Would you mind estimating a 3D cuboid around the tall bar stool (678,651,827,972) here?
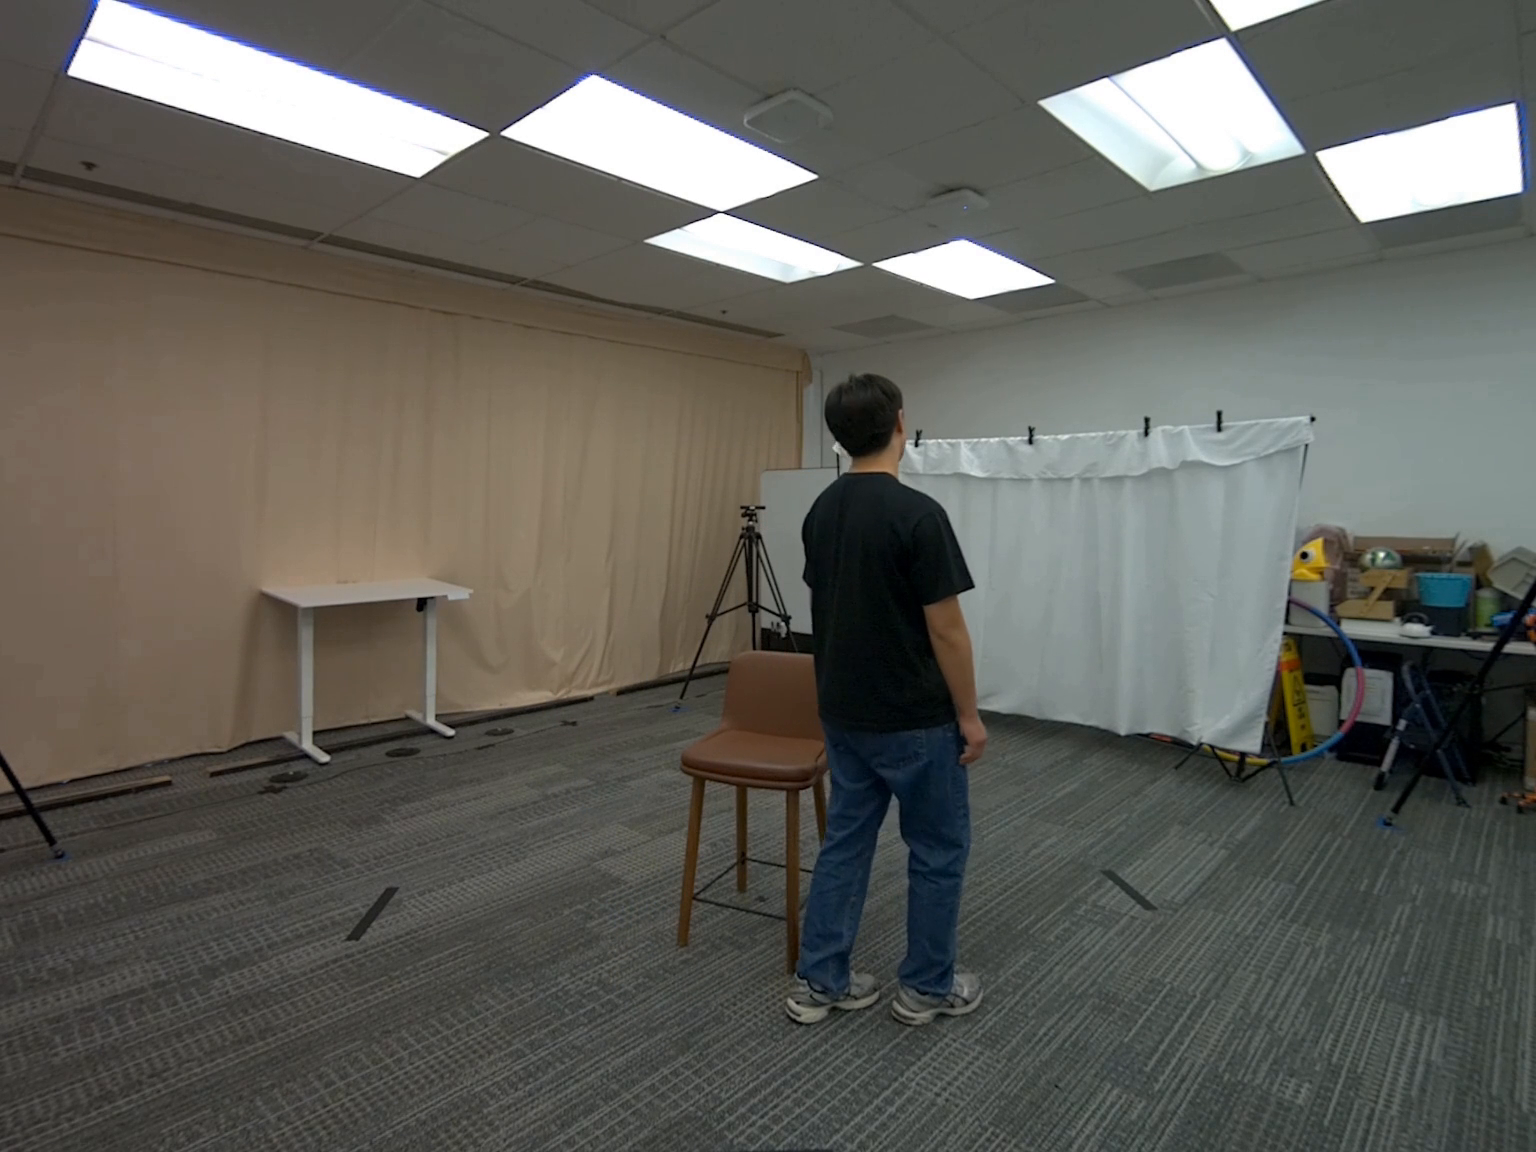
[{"bbox_3d":[-0.010,0.728,2.762,0.469,0.888,0.456,2,2,26],"label":"tall bar stool"}]
